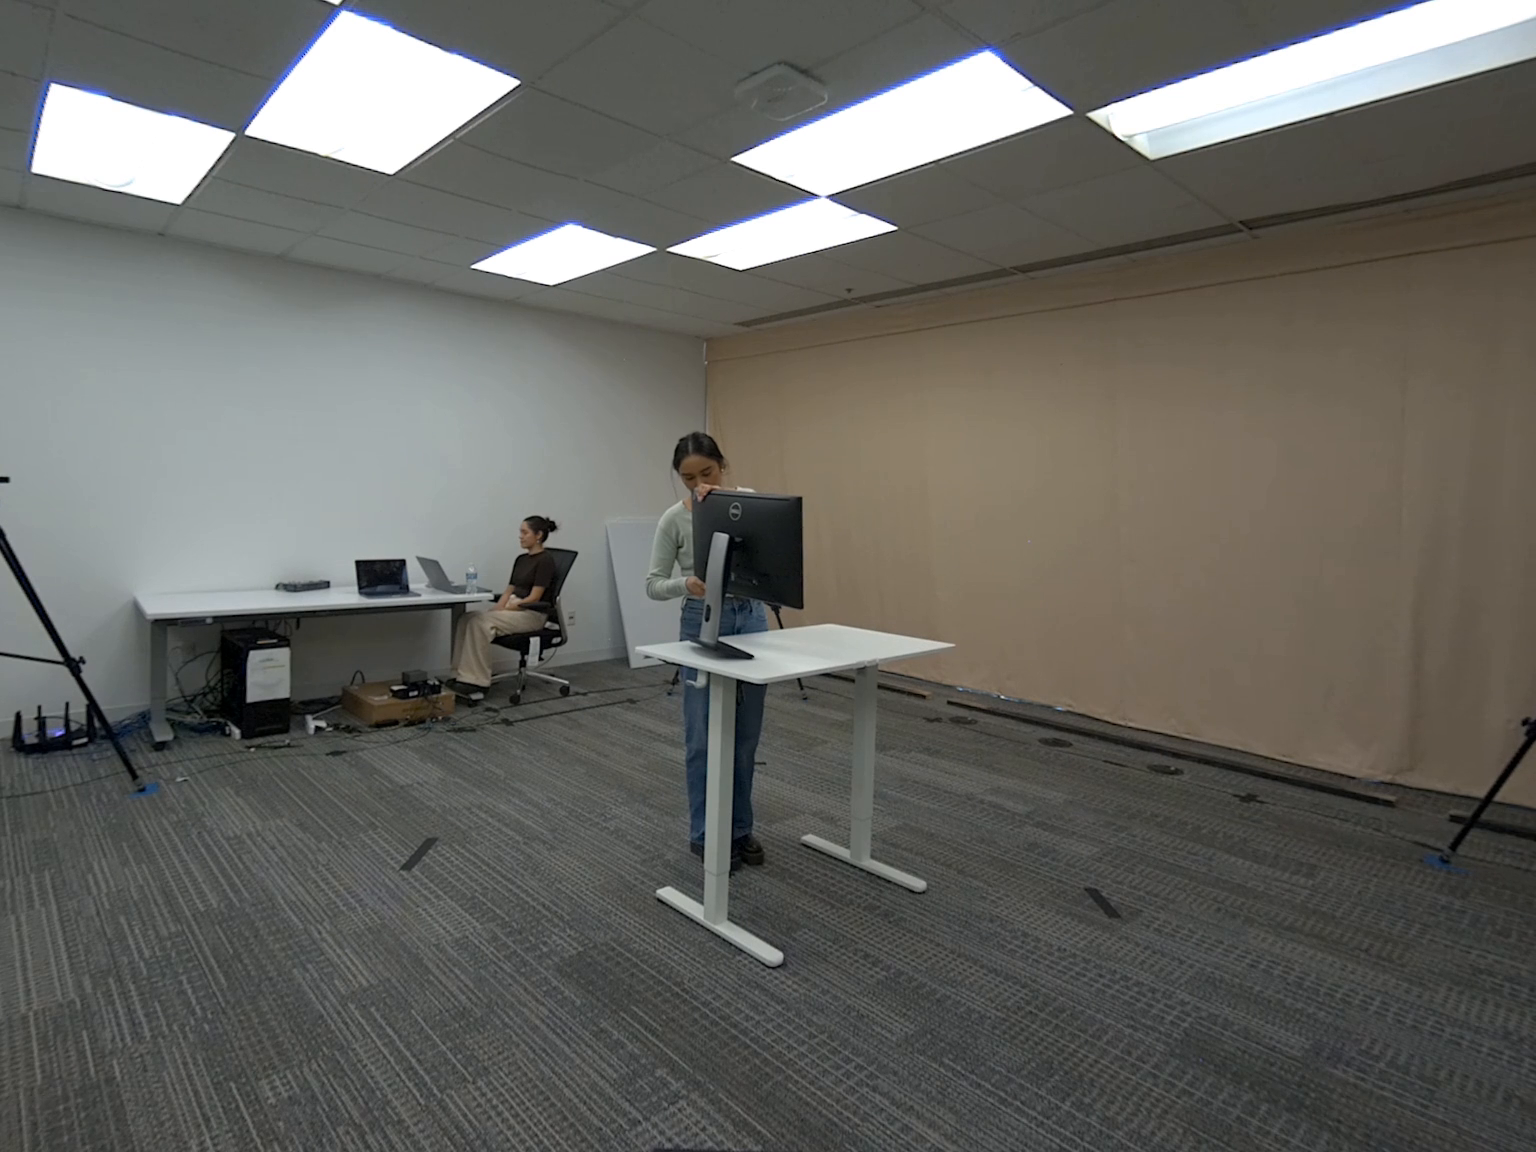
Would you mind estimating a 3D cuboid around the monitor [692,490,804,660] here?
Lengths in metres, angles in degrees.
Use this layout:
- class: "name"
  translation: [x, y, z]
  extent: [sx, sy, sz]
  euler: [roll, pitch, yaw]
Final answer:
- class: "monitor"
  translation: [-0.133, -0.016, 2.746]
  extent: [0.182, 0.523, 0.554]
  euler: [11, -1, -44]
